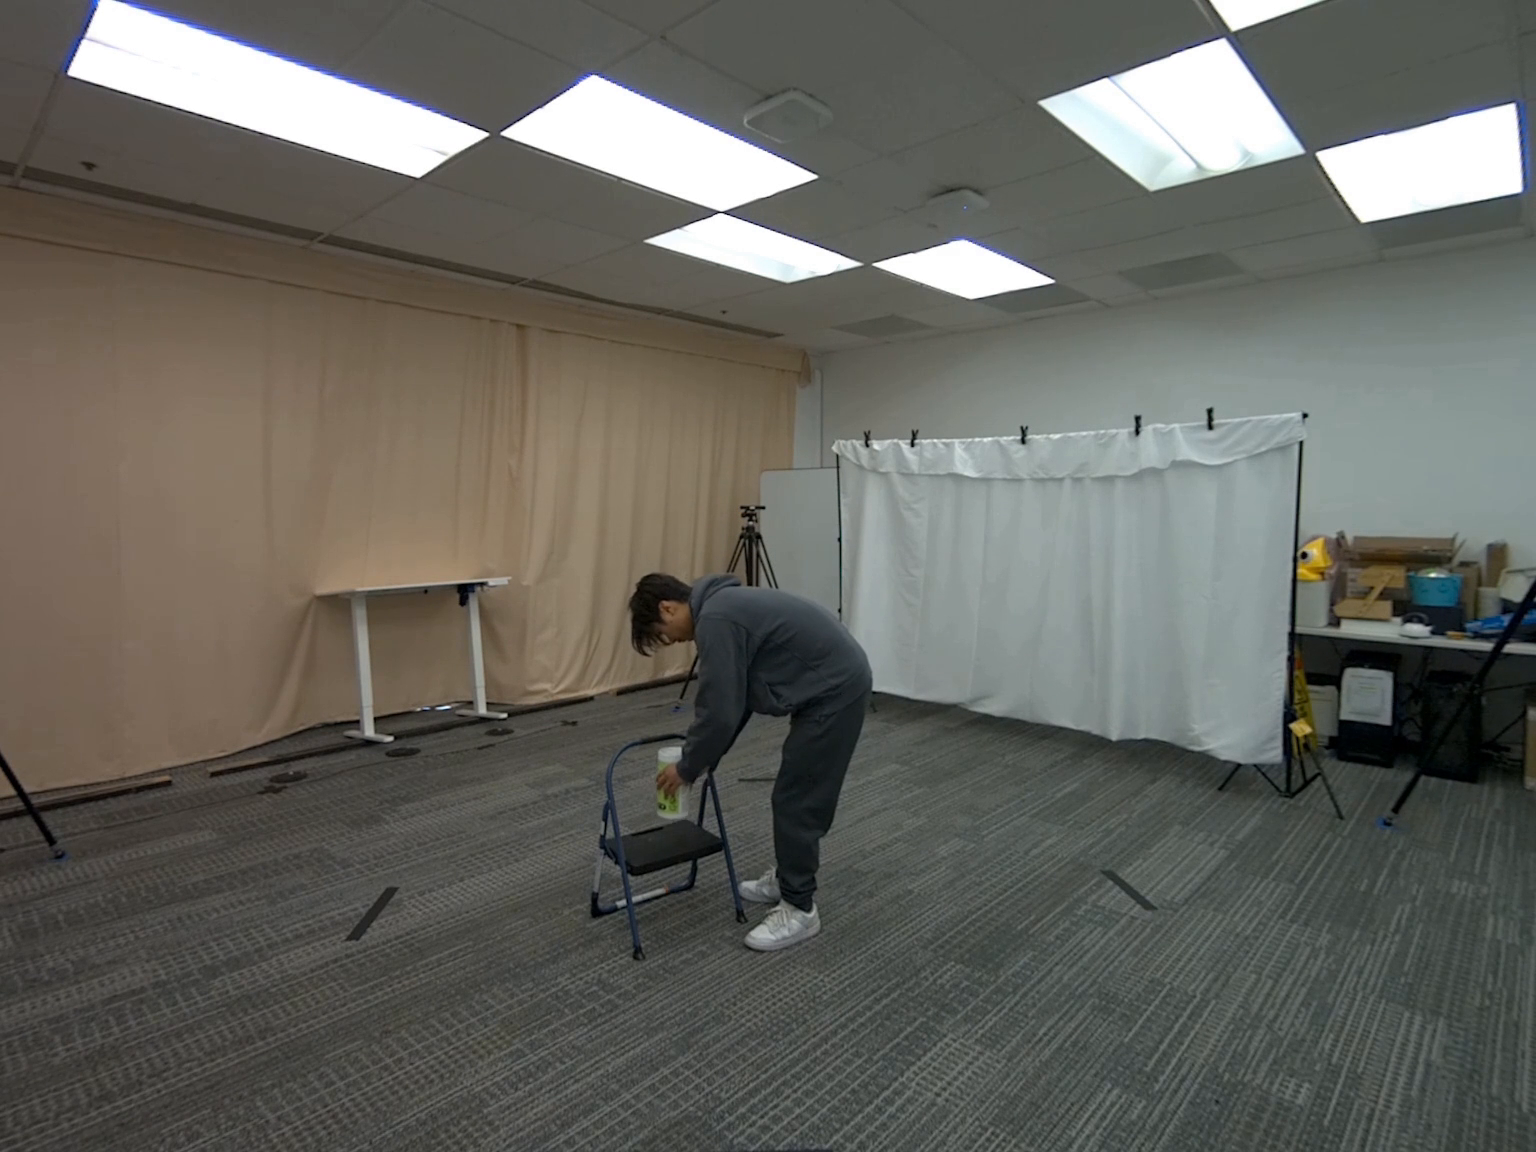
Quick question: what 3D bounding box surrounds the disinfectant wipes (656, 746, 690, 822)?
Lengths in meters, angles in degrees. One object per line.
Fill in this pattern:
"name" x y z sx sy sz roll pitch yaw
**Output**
"disinfectant wipes" -0.311 0.690 2.806 0.118 0.217 0.118 1 1 -2
